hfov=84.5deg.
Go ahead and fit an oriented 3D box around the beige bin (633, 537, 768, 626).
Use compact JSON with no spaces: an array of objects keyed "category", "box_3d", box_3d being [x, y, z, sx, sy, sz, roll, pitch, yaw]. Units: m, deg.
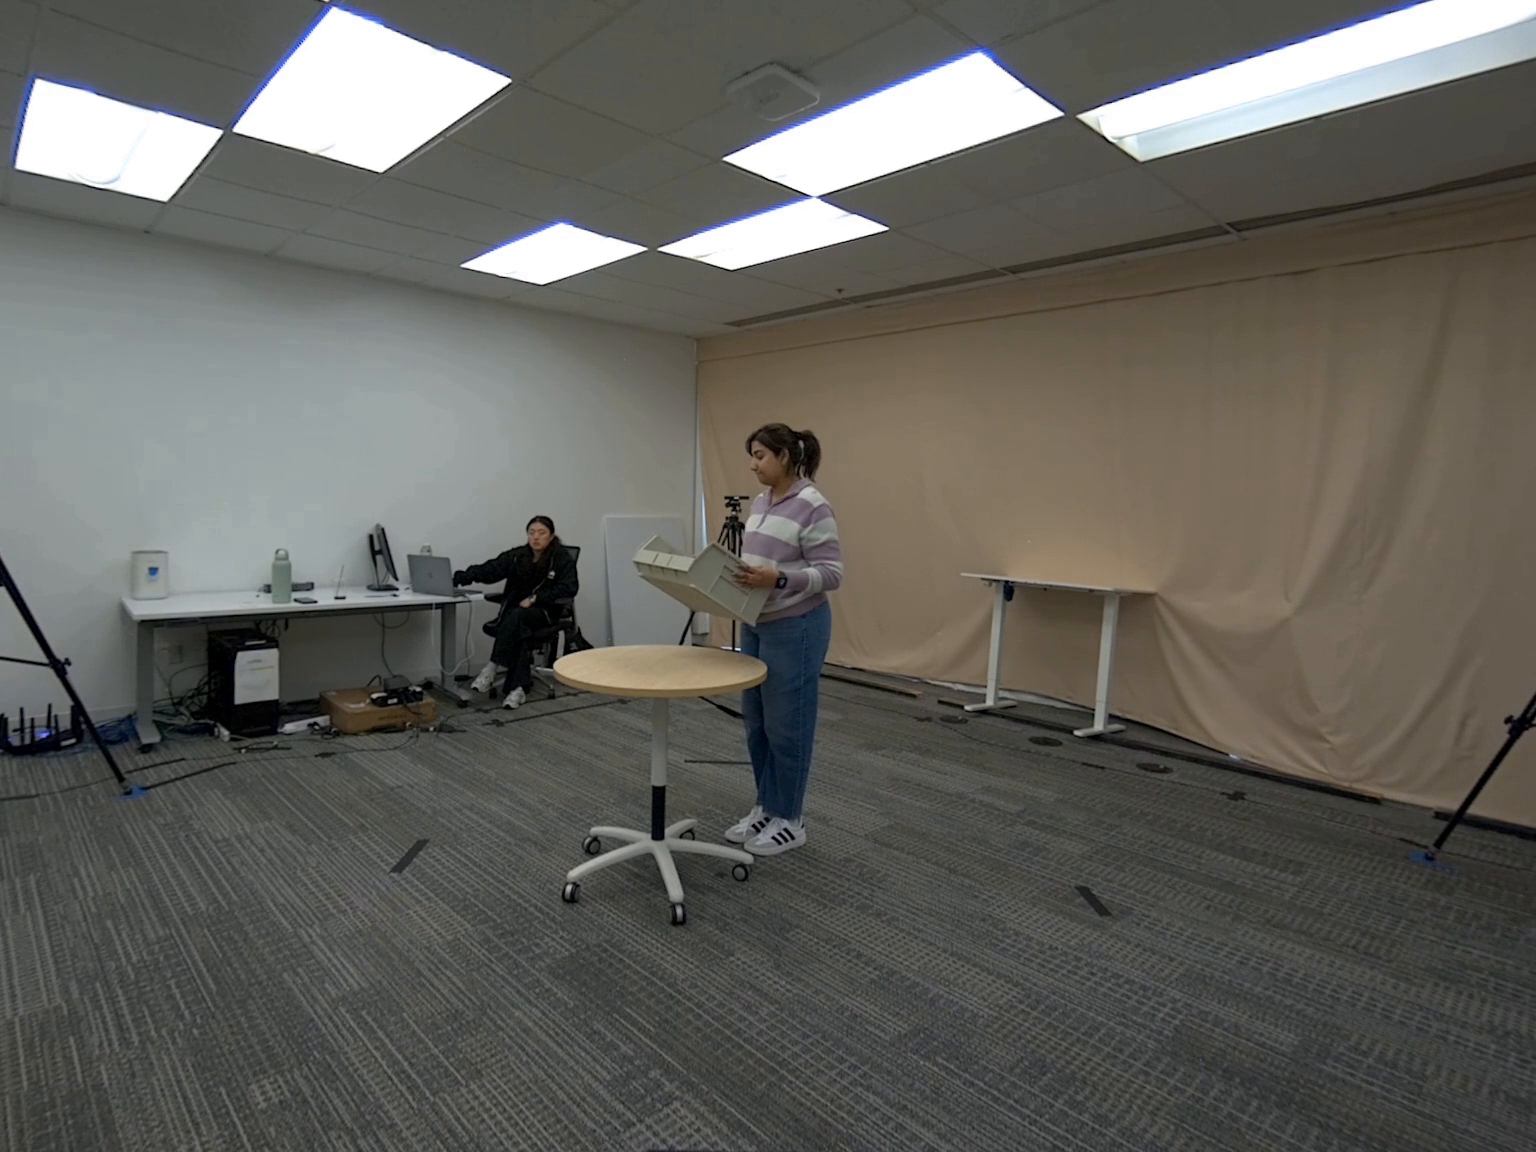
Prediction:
[{"category":"beige bin","box_3d":[-0.254,0.005,3.153,0.366,0.190,0.433,36,-16,-33]}]
